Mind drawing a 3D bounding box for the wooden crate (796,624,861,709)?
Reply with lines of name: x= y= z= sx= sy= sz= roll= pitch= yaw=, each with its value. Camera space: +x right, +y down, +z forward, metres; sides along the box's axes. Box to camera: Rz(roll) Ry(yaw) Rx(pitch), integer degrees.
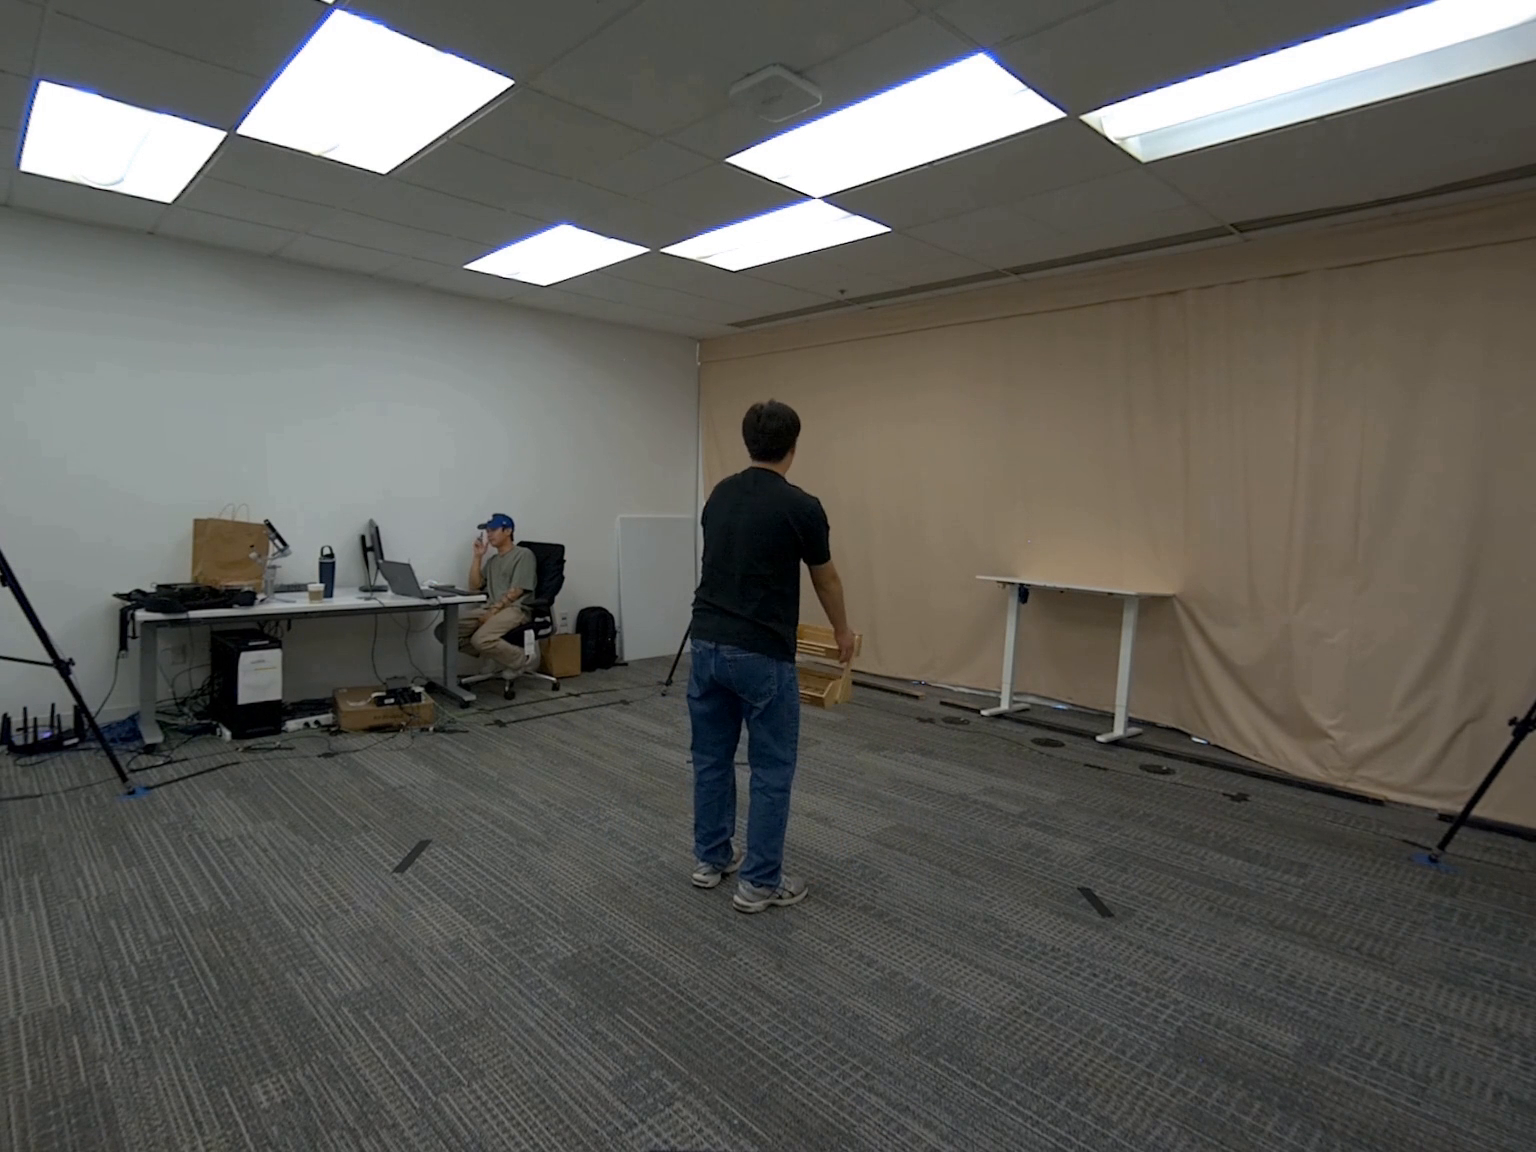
wooden crate: x=0.149 y=0.333 z=3.284 sx=0.332 sy=0.273 sz=0.295 roll=8 pitch=3 yaw=30
